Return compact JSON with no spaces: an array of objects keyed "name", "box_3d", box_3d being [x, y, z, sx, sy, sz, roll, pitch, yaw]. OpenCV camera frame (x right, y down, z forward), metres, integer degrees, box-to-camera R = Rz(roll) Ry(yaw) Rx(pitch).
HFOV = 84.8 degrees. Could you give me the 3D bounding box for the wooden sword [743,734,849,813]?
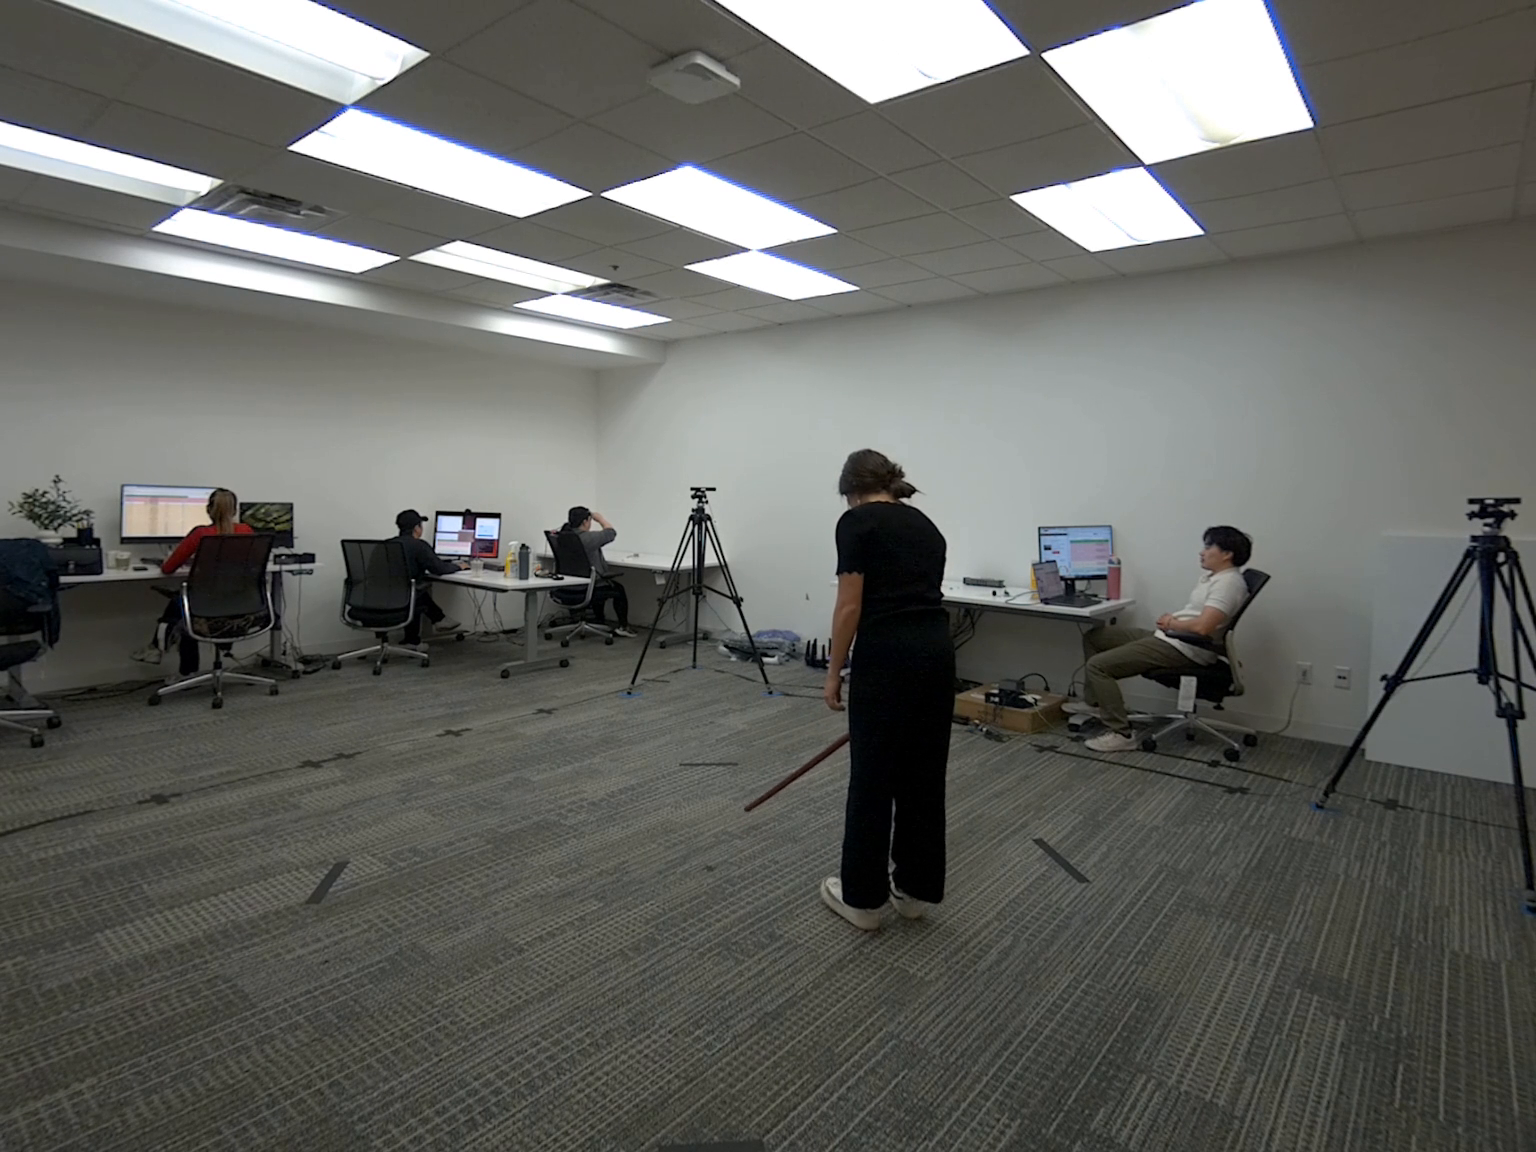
[{"name":"wooden sword","box_3d":[0.149,0.710,3.219,0.023,0.053,1.025,21,-44,-24]}]
